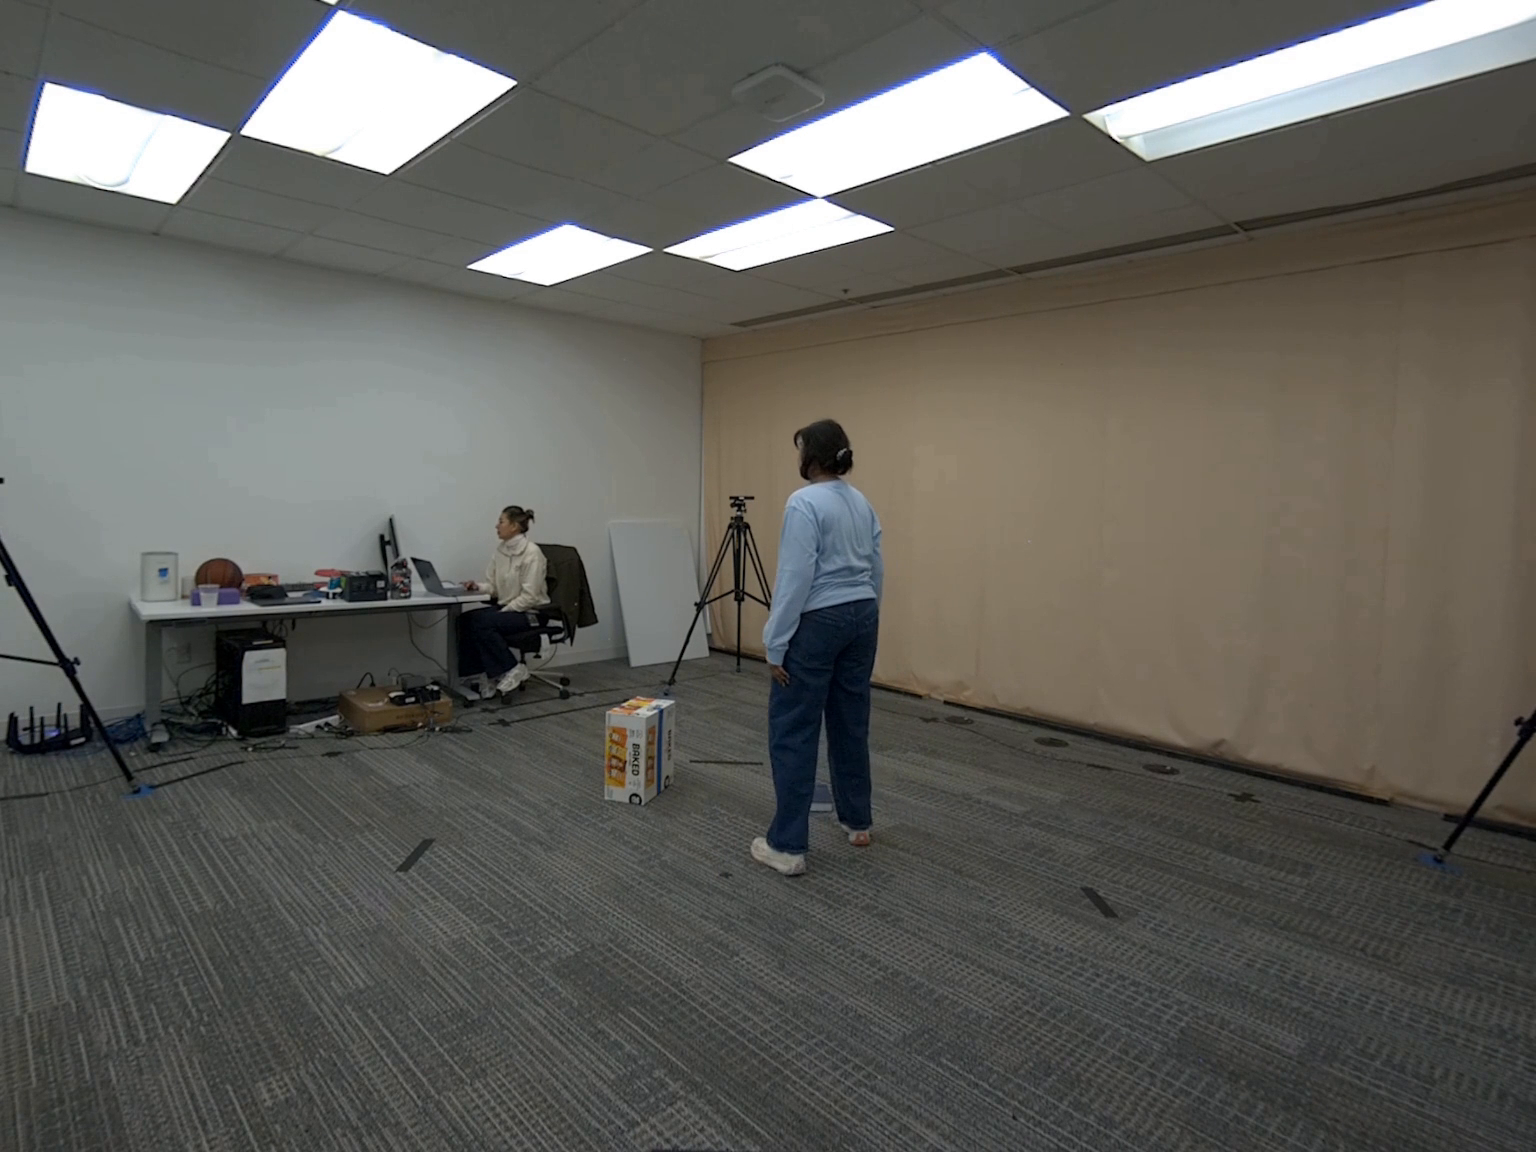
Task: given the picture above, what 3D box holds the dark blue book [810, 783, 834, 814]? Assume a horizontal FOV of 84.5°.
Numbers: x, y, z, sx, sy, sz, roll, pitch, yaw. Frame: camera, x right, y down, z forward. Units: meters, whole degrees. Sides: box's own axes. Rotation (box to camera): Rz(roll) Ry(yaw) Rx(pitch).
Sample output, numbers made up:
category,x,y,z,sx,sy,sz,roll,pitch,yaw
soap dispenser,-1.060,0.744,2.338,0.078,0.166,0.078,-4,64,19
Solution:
category,x,y,z,sx,sy,sz,roll,pitch,yaw
dark blue book,0.202,1.028,3.897,0.163,0.045,0.246,1,4,-3
